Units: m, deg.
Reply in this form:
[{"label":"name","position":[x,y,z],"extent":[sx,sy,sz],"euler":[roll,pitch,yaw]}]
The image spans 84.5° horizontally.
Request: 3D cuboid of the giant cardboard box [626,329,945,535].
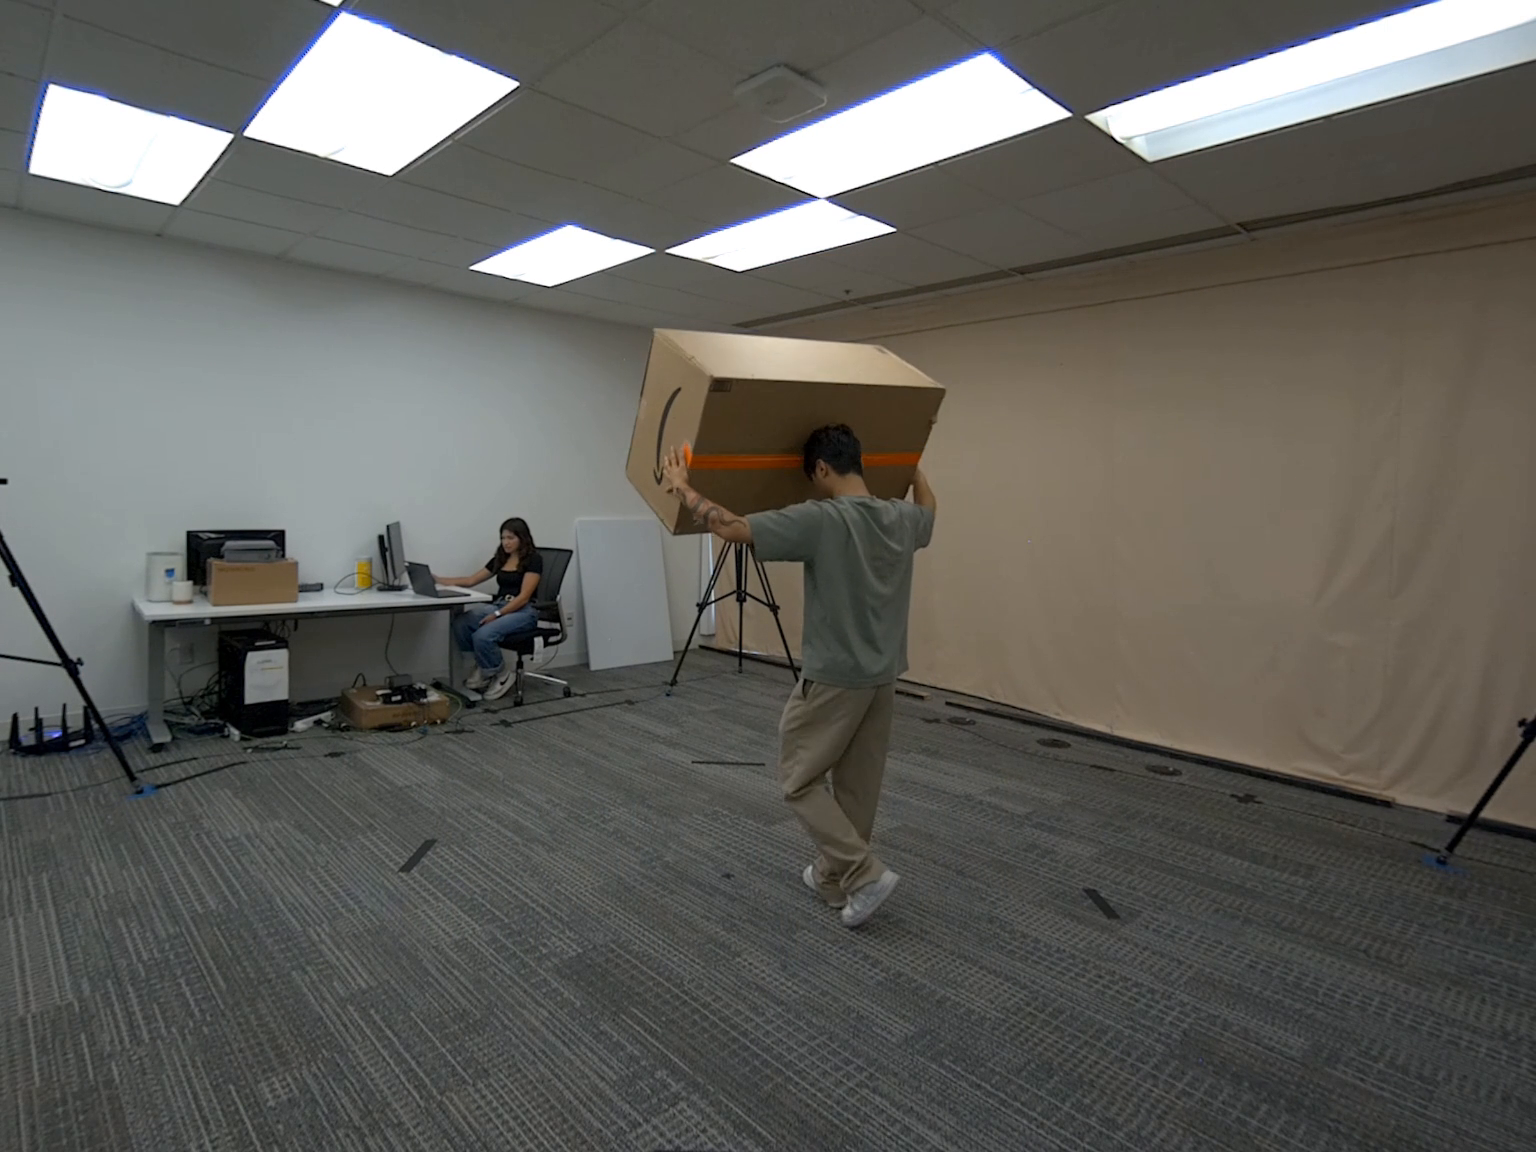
[{"label":"giant cardboard box","position":[0.059,-0.523,3.107],"extent":[1.006,0.570,0.440],"euler":[-6,37,-33]}]
